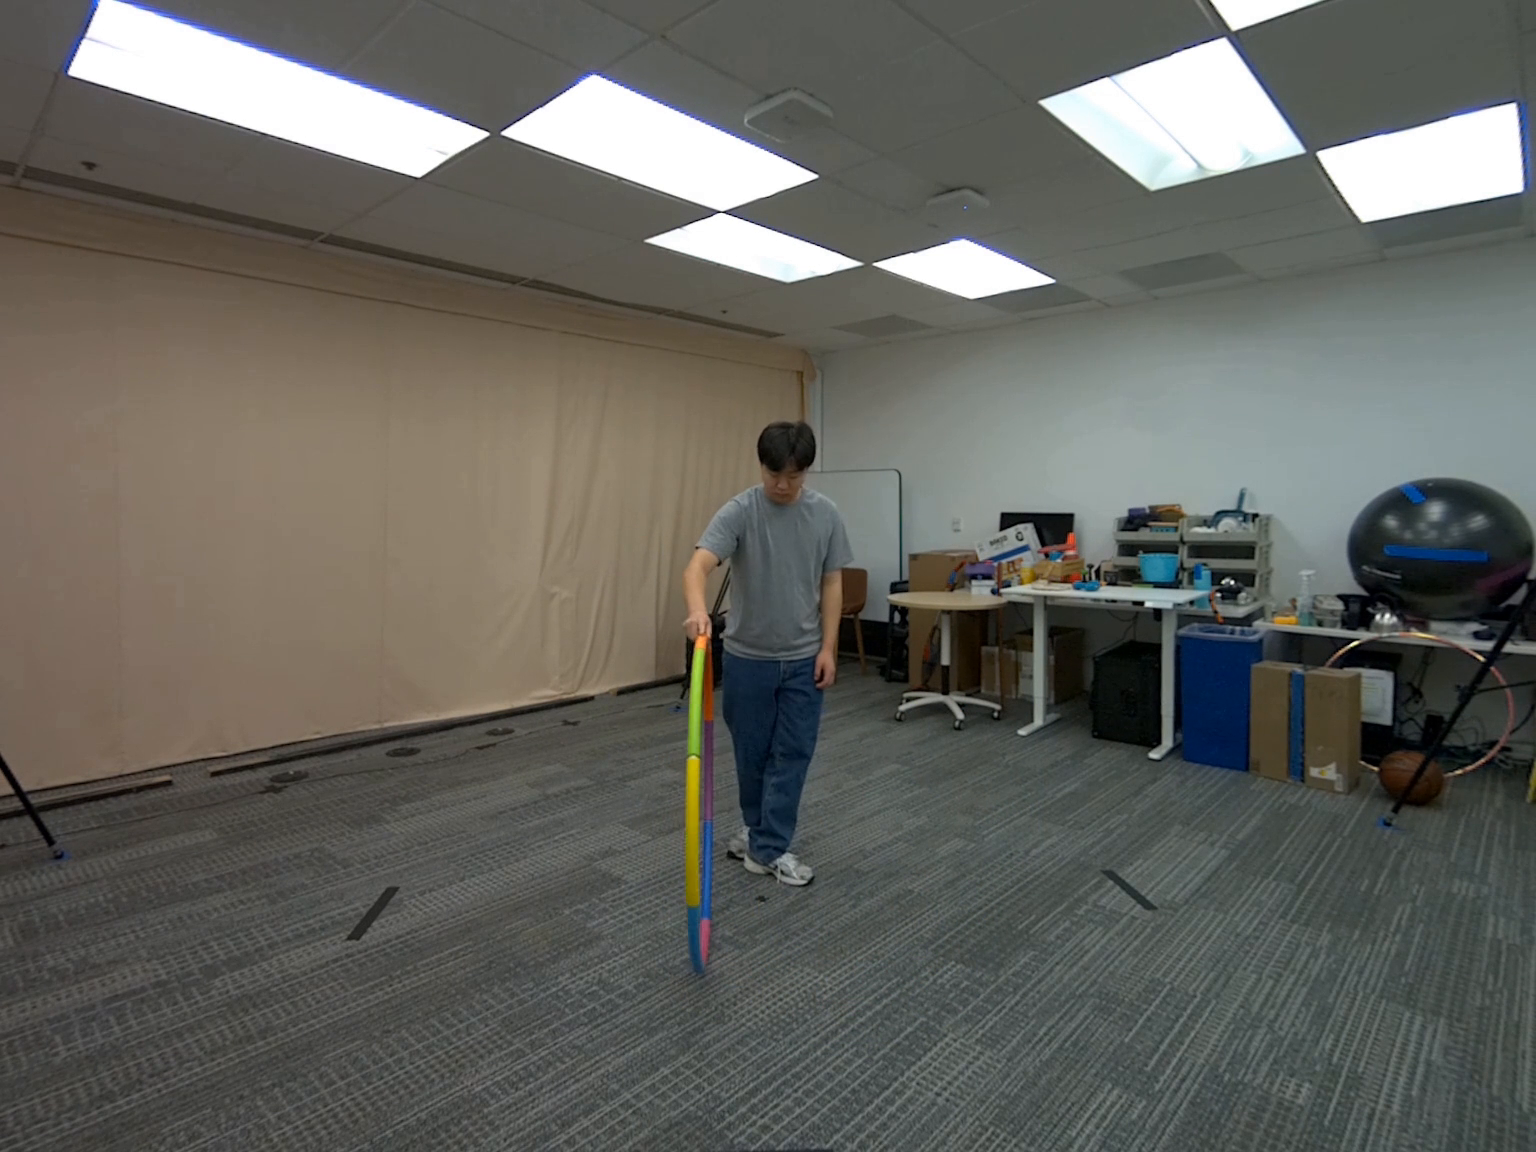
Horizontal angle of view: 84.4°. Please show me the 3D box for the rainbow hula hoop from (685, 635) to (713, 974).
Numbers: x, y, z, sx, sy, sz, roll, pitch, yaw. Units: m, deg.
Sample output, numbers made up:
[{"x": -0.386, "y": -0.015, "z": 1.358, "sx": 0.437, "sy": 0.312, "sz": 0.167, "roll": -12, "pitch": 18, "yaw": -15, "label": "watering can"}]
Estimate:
[{"x": -0.193, "y": 0.686, "z": 2.606, "sx": 0.035, "sy": 0.976, "sz": 0.979, "roll": 1, "pitch": 4, "yaw": 0, "label": "rainbow hula hoop"}]
